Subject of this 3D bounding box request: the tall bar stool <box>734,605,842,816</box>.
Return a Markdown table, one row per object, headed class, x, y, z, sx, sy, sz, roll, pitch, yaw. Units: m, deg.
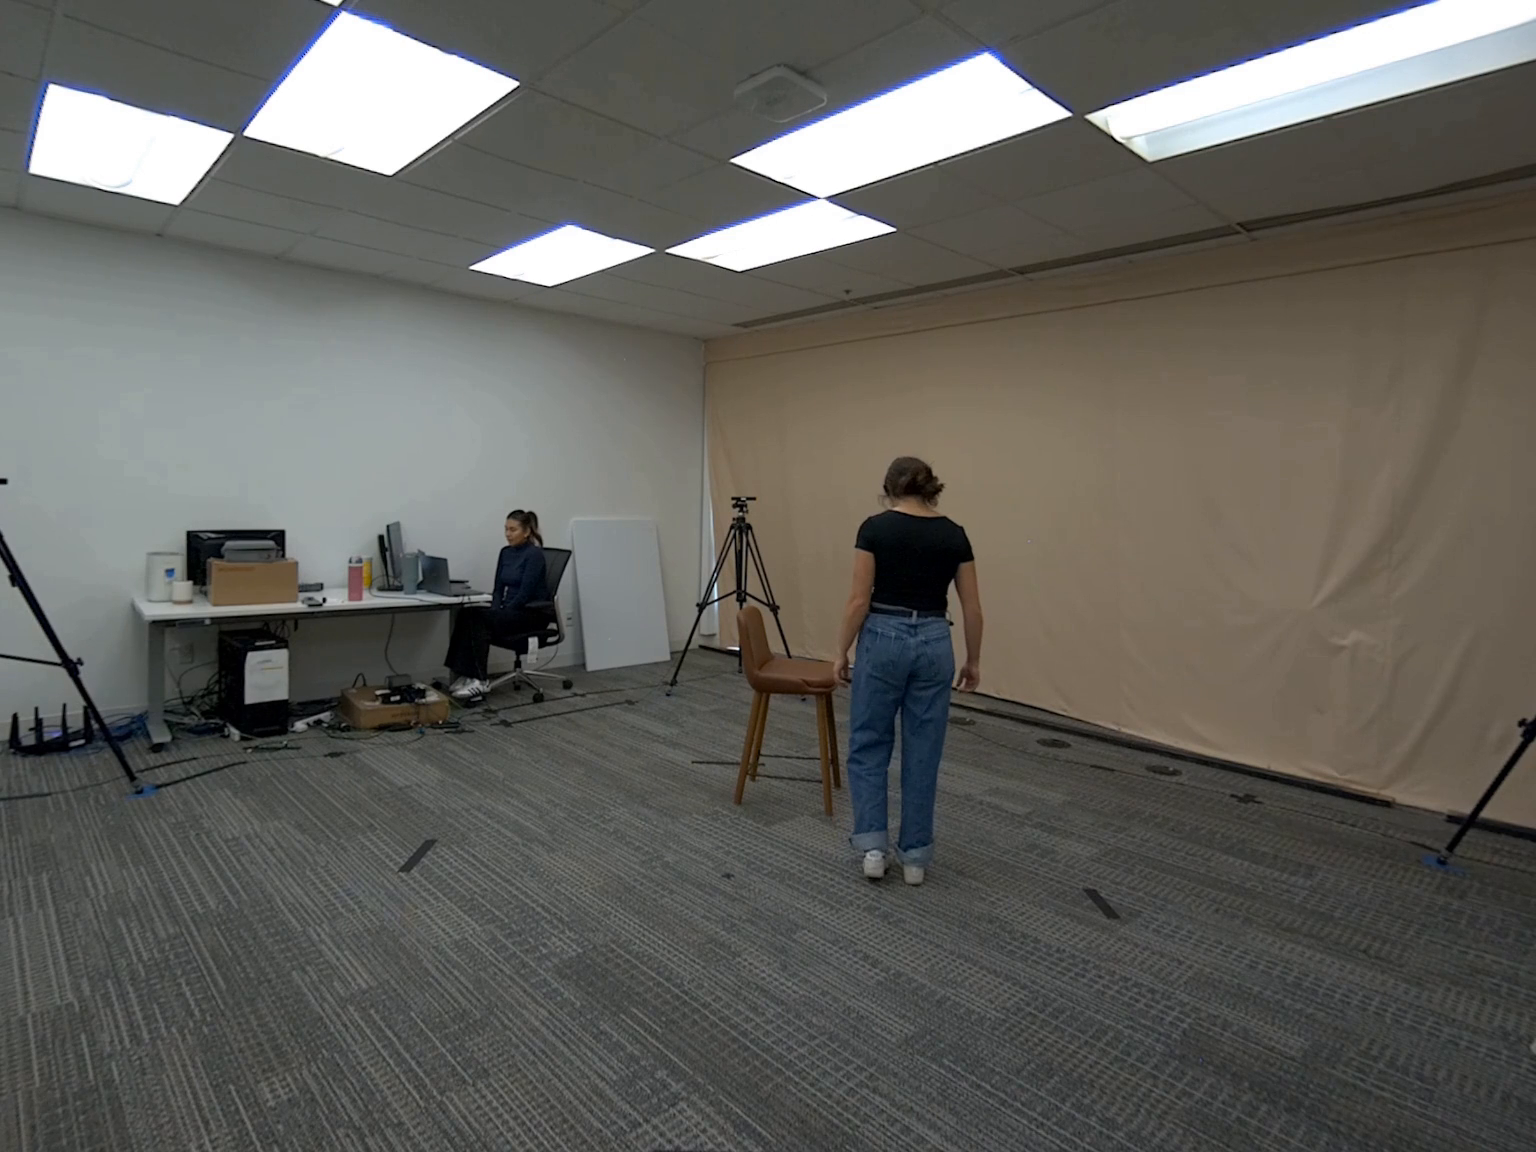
| class | x | y | z | sx | sy | sz | roll | pitch | yaw |
| --- | --- | --- | --- | --- | --- | --- | --- | --- | --- |
| tall bar stool | 0.096 | 0.604 | 3.957 | 0.472 | 0.888 | 0.452 | 1 | 3 | 13 |
